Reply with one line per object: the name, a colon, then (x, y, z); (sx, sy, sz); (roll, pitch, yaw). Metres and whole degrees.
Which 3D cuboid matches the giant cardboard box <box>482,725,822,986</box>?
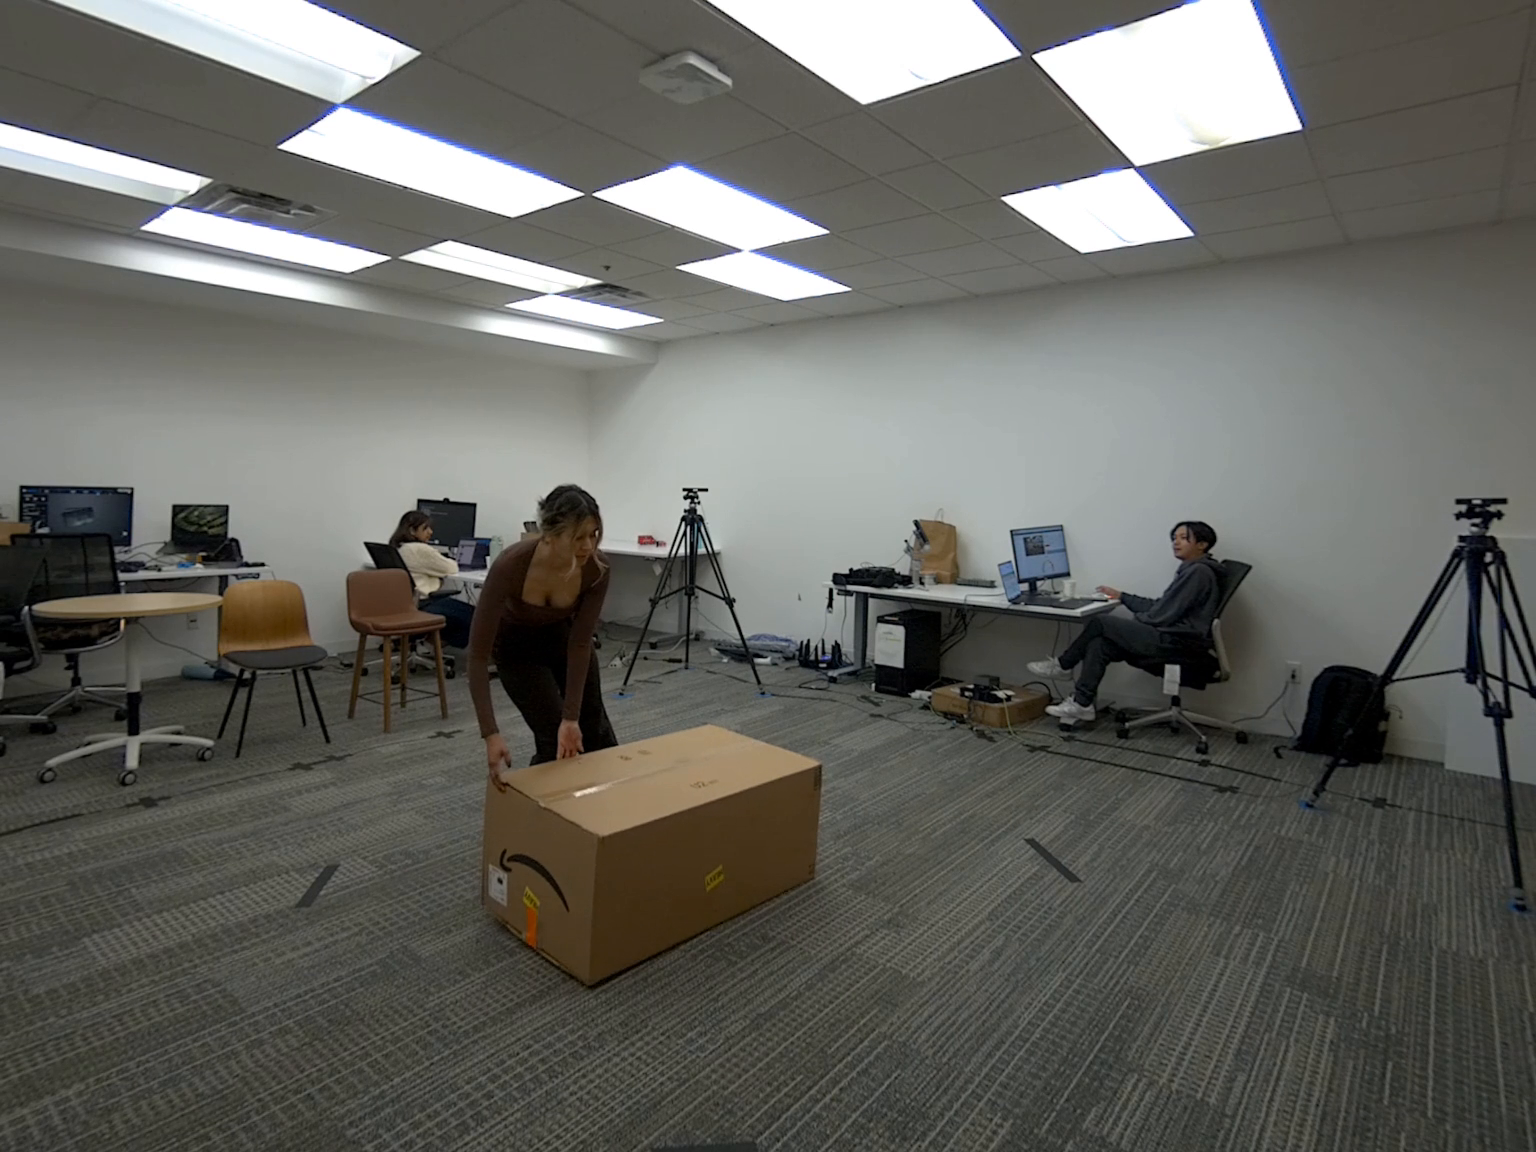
giant cardboard box: (-0.369, 0.858, 2.875); (0.605, 0.445, 0.996); (10, 9, 42)
